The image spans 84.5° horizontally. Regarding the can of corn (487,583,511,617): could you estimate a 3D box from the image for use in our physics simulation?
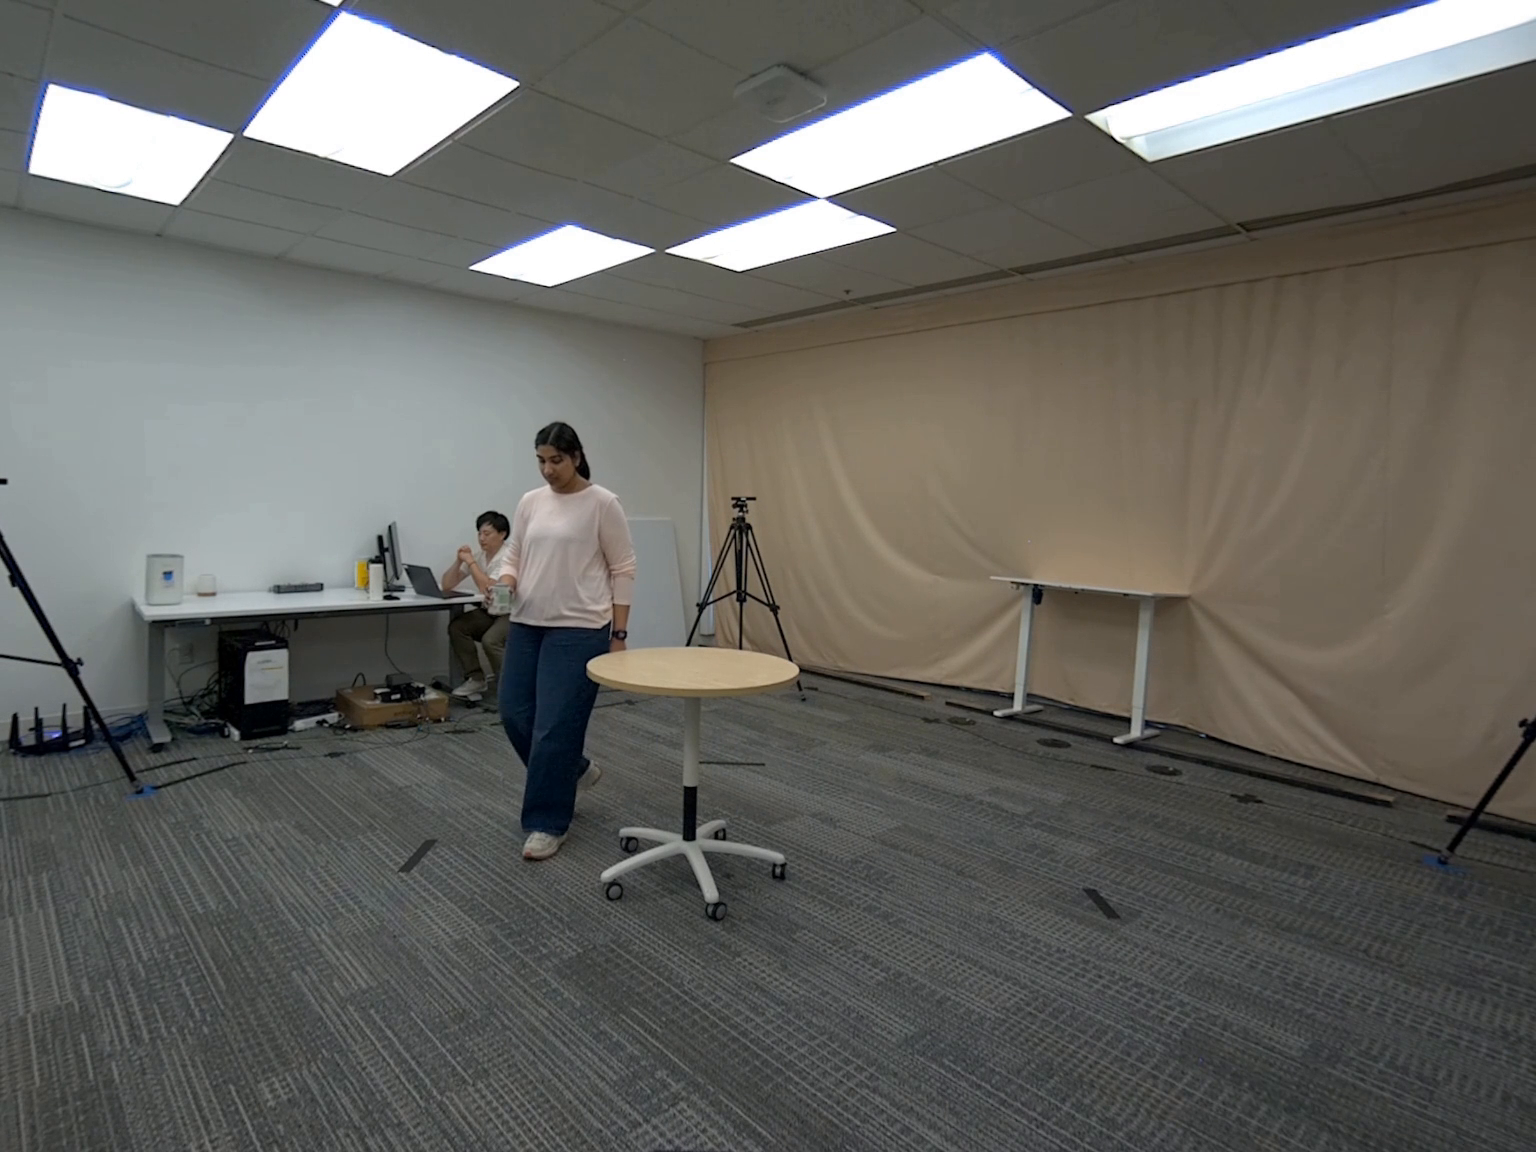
[{"bbox_3d":[-1.016,0.090,3.143,0.074,0.111,0.074,3,2,-1],"label":"can of corn"}]
